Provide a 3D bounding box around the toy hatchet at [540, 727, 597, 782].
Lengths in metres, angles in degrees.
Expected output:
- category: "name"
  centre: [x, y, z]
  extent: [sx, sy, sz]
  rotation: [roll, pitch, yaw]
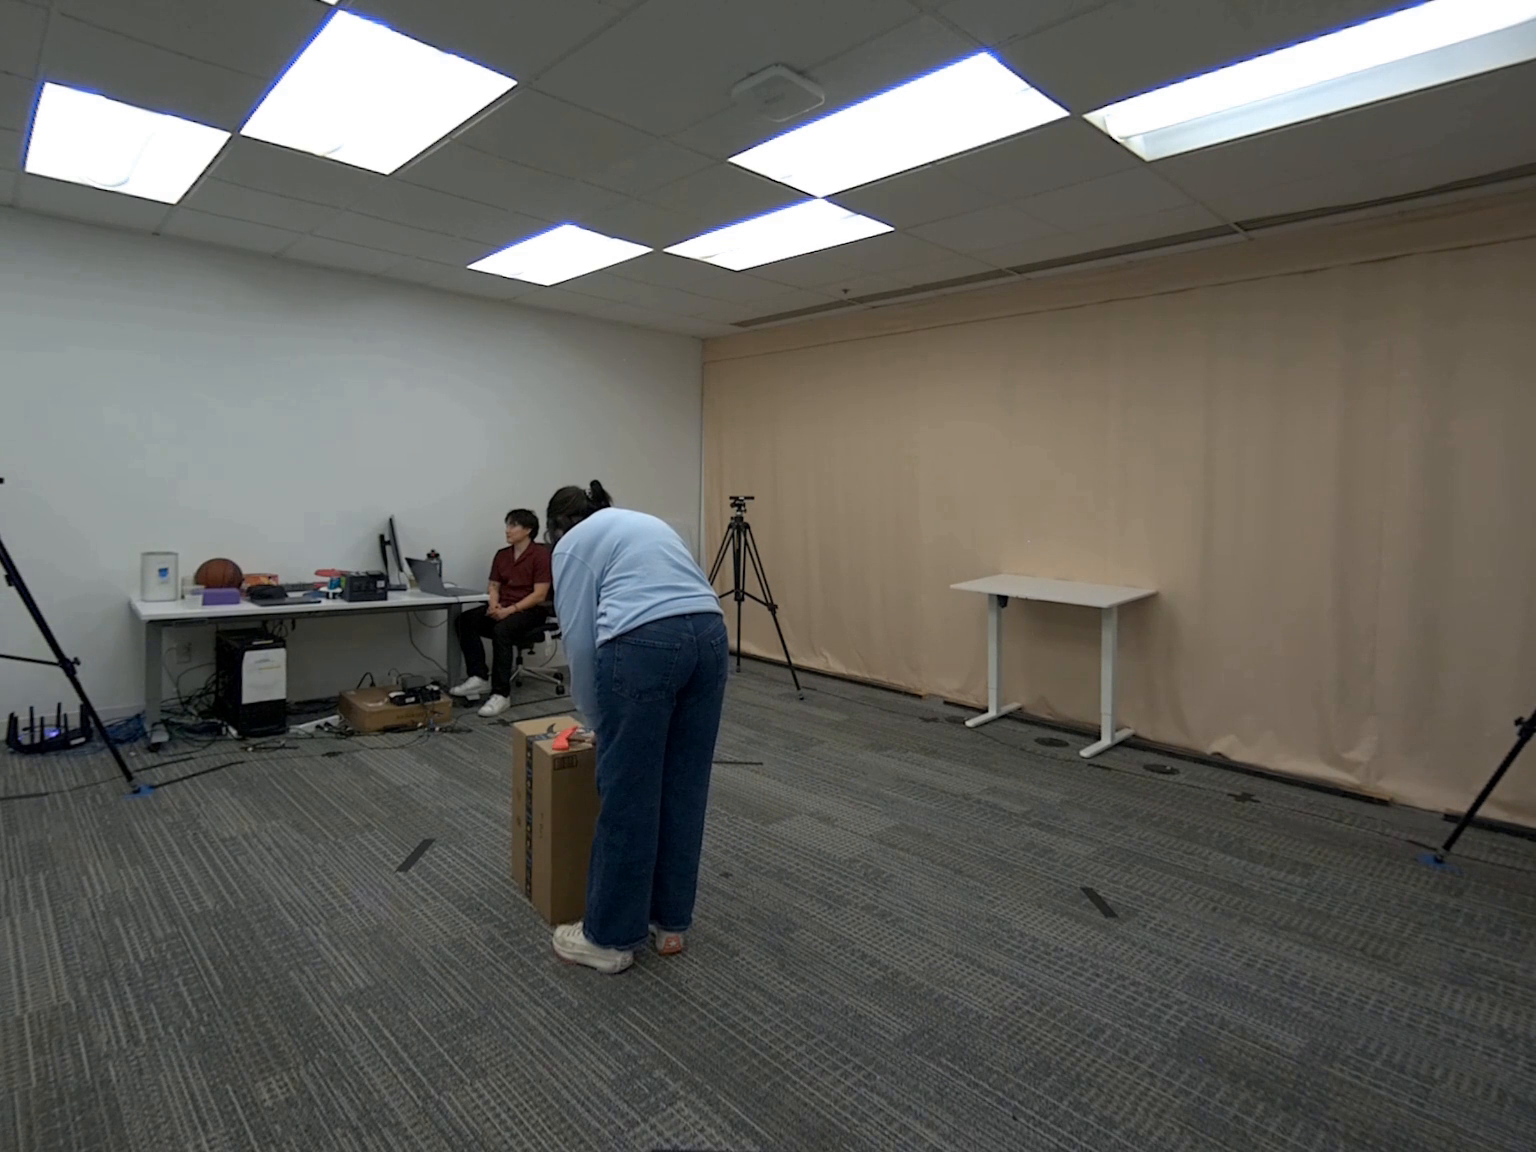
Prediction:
- category: "toy hatchet"
  centre: [-0.600, 0.565, 2.706]
  extent: [0.129, 0.029, 0.278]
  rotation: [-20, 24, -39]
